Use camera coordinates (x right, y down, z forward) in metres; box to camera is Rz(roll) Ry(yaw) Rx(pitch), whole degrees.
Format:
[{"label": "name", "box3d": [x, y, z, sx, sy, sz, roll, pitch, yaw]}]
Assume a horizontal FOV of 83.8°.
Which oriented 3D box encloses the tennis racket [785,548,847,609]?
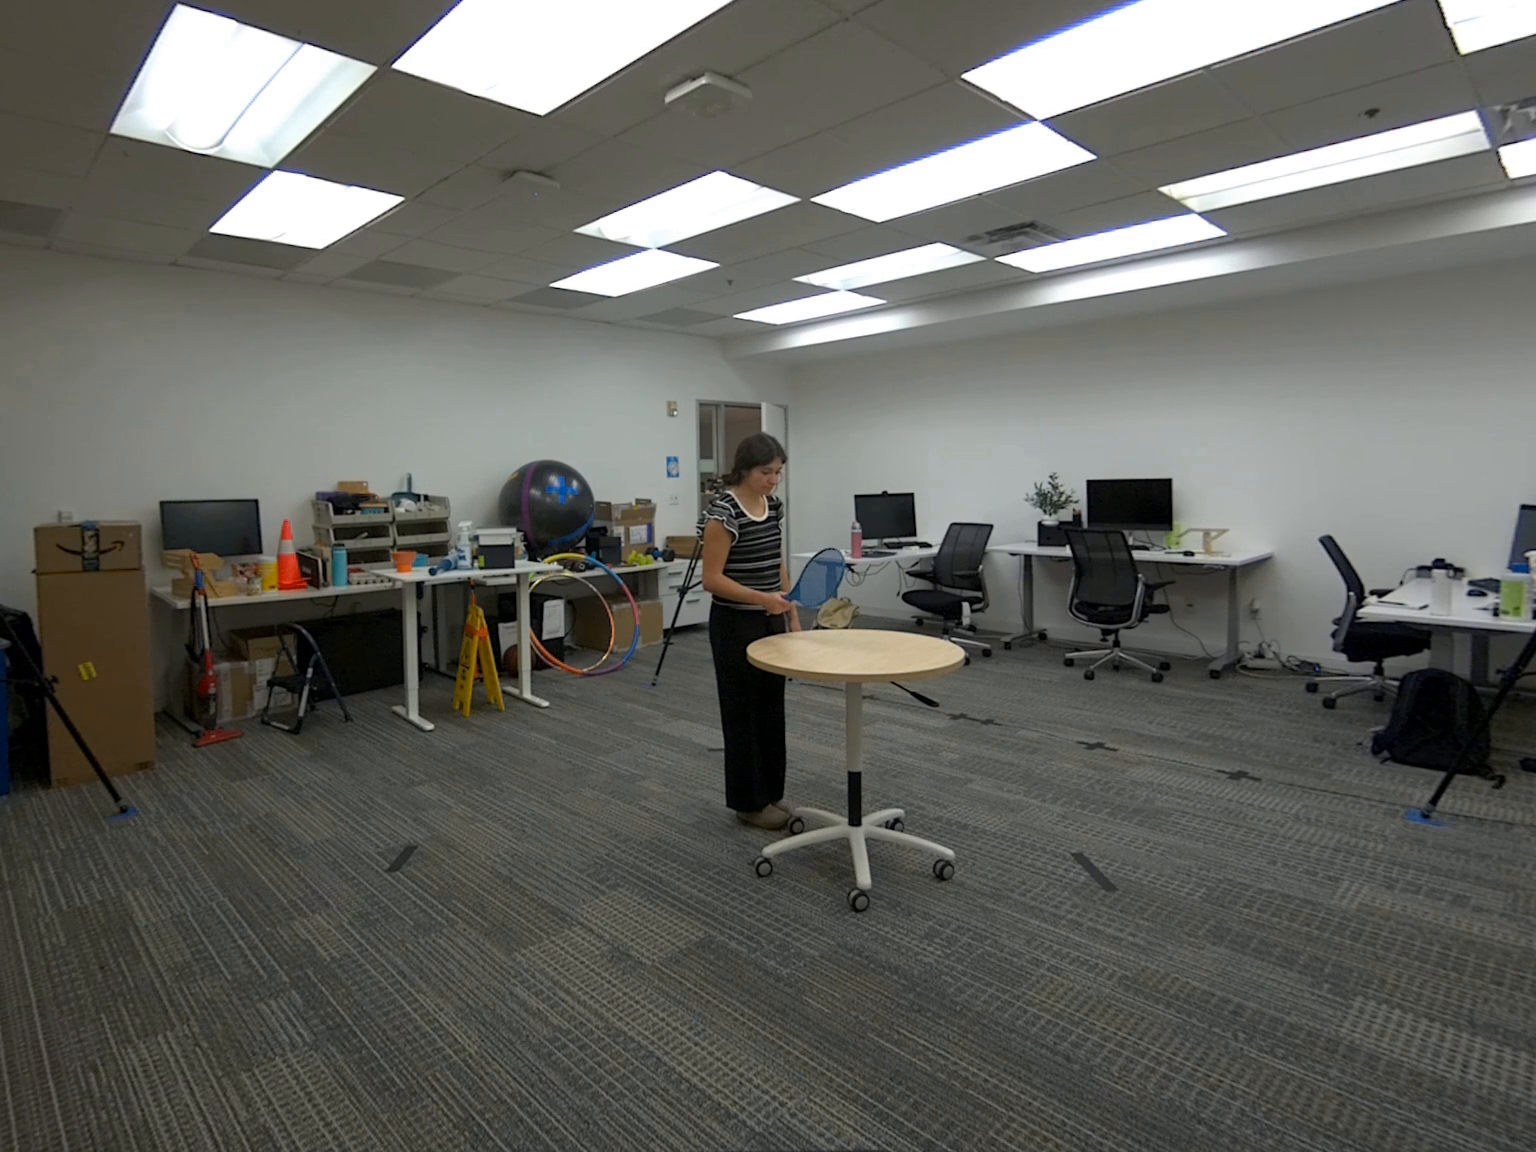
[{"label": "tennis racket", "box3d": [0.142, 0.044, 3.118, 0.031, 0.219, 0.436, 20, -35, -32]}]
